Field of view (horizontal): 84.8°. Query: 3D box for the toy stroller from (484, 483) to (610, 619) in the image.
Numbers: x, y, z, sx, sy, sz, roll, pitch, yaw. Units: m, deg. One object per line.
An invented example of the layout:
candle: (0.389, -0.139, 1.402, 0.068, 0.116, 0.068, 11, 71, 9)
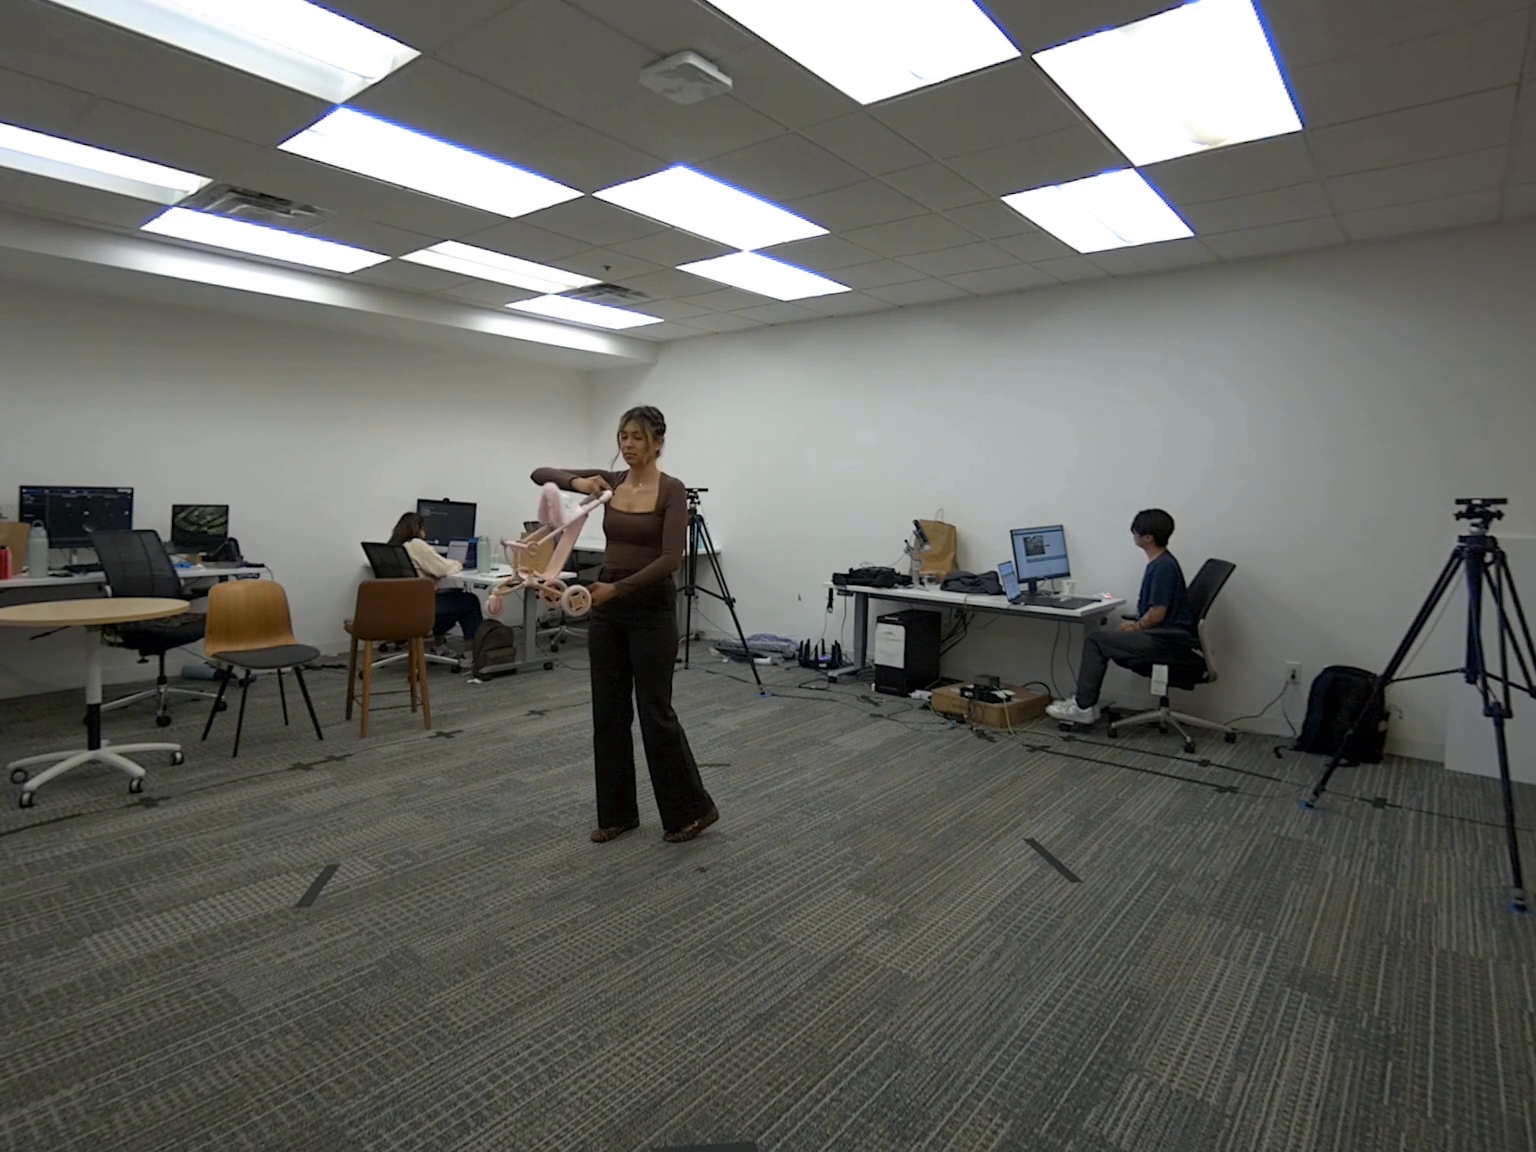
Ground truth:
toy stroller: (-0.801, -0.092, 3.026, 0.332, 0.536, 0.289, 14, -3, -24)
